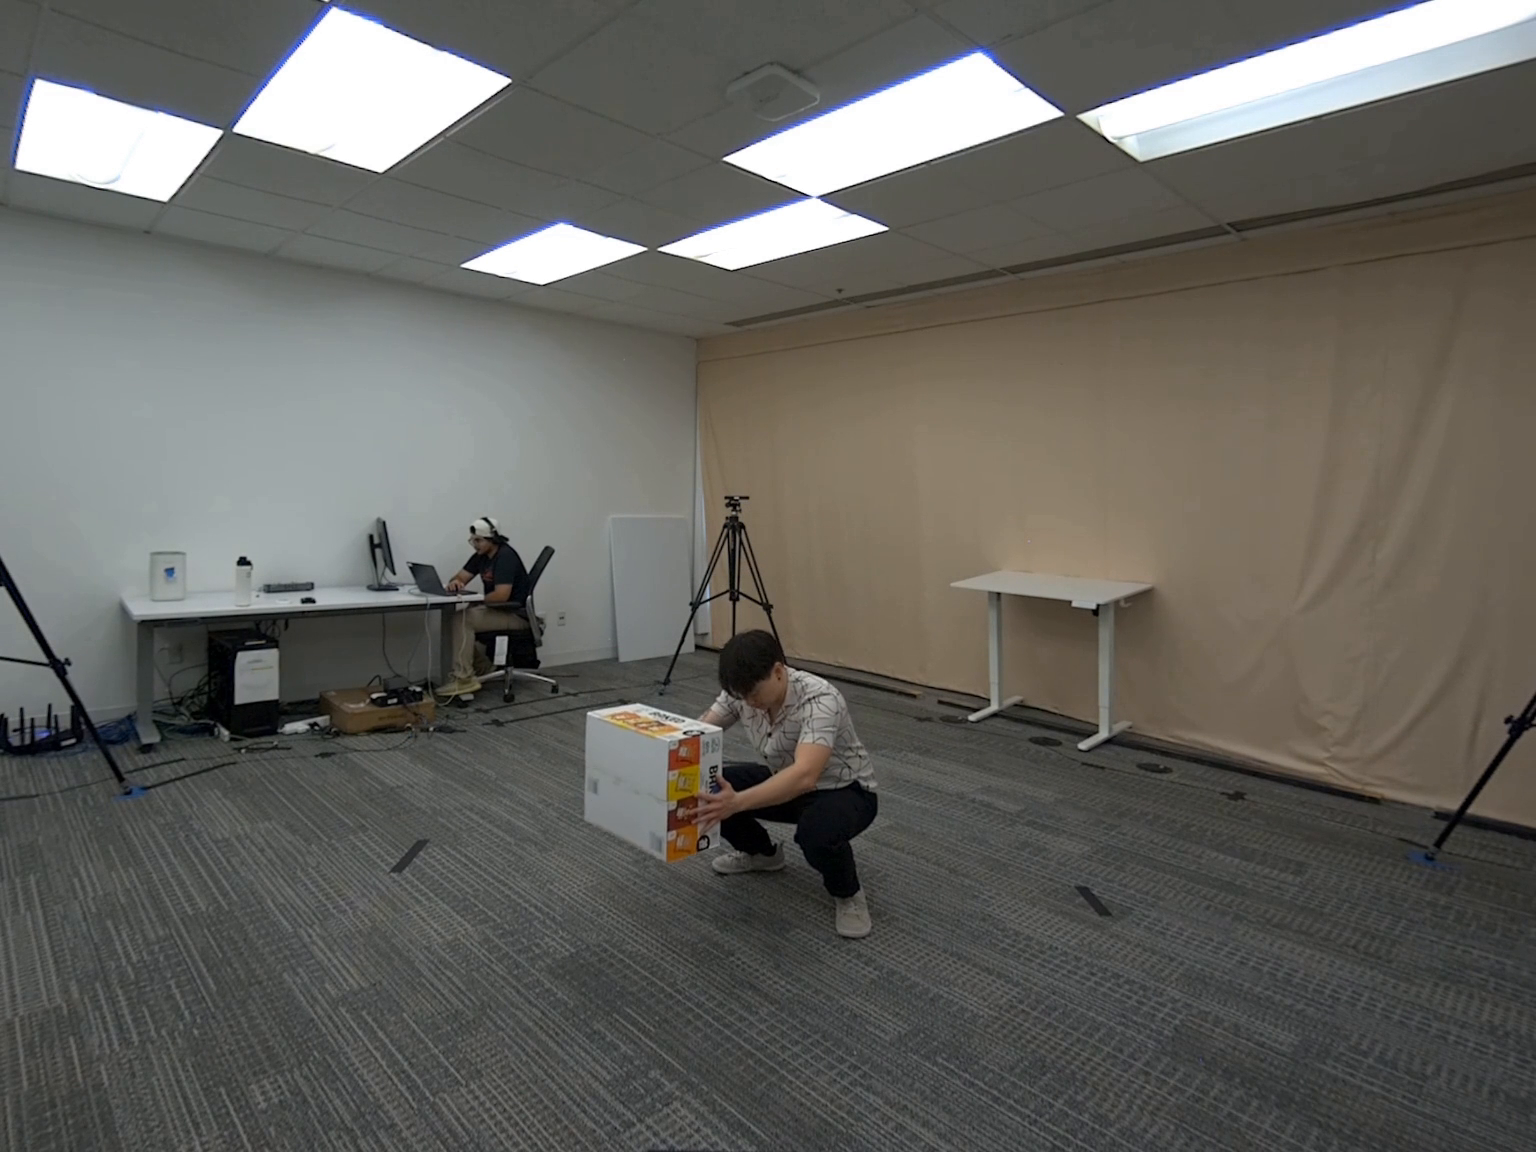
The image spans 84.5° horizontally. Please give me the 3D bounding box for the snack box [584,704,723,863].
[{"bbox_3d":[-0.350,0.596,2.498,0.201,0.340,0.415,0,3,-45],"label":"snack box"}]
